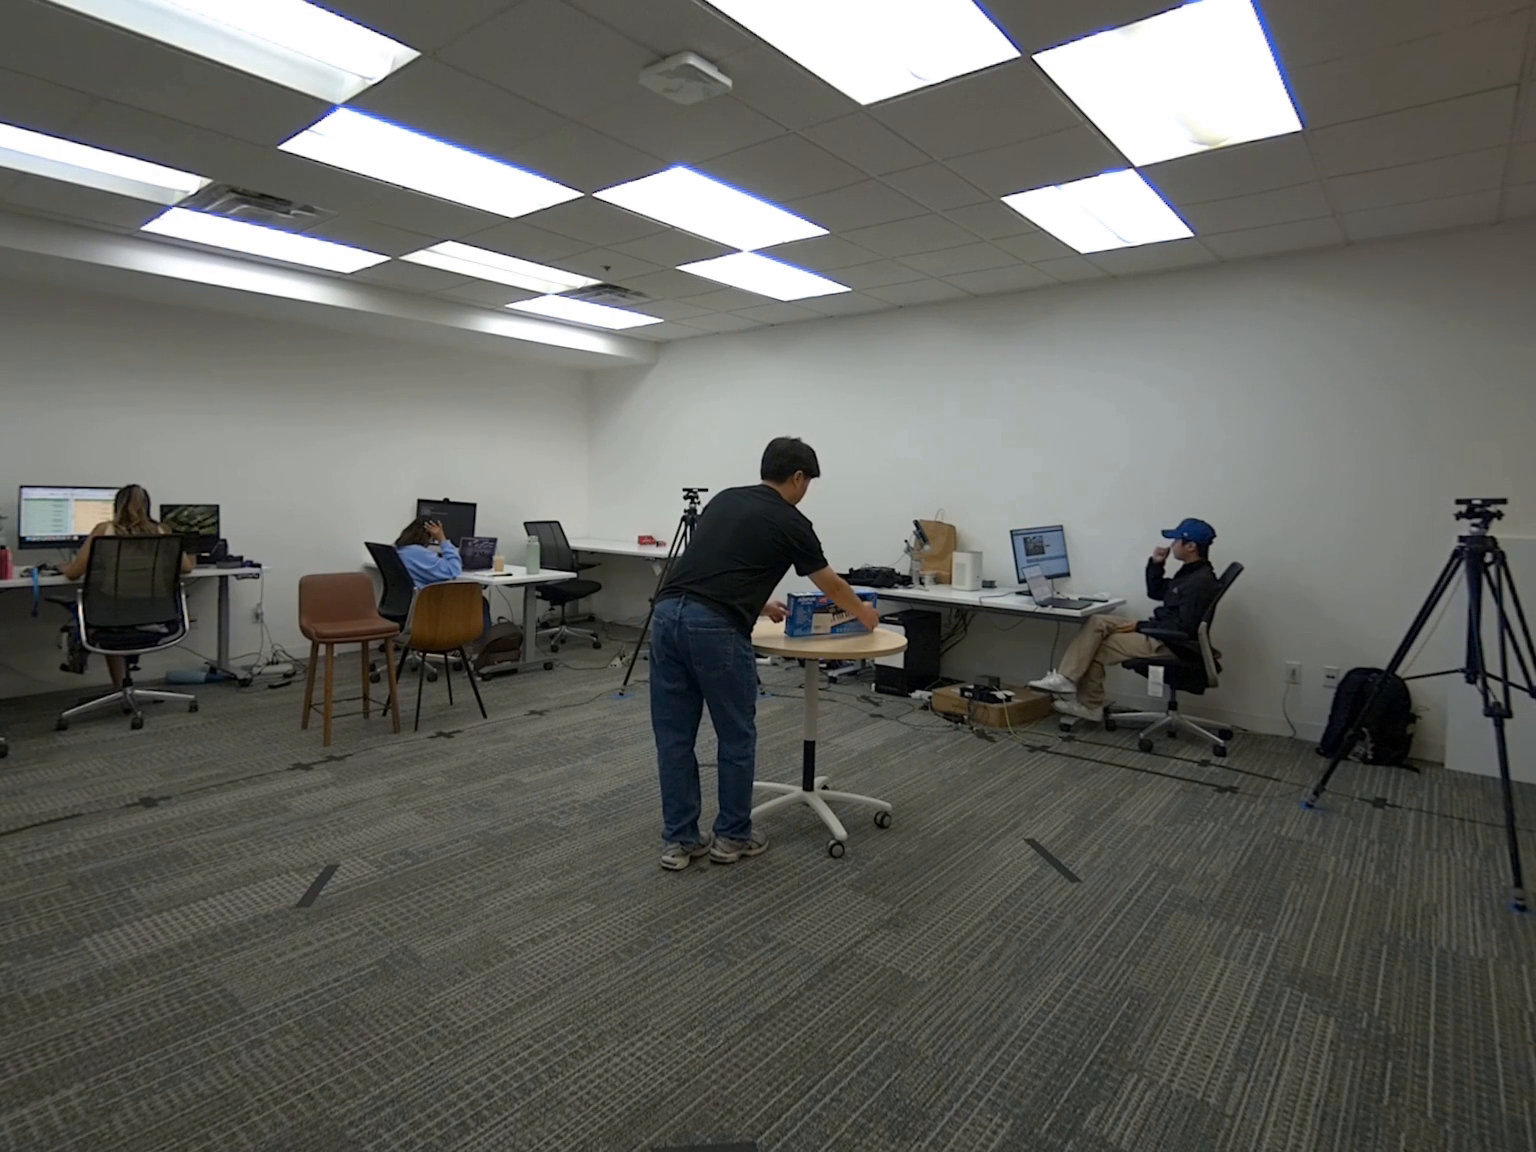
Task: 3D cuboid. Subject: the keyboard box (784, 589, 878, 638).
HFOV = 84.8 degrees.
[{"bbox_3d":[0.268,0.152,3.578,0.425,0.175,0.061,-2,10,-32],"label":"keyboard box"}]
